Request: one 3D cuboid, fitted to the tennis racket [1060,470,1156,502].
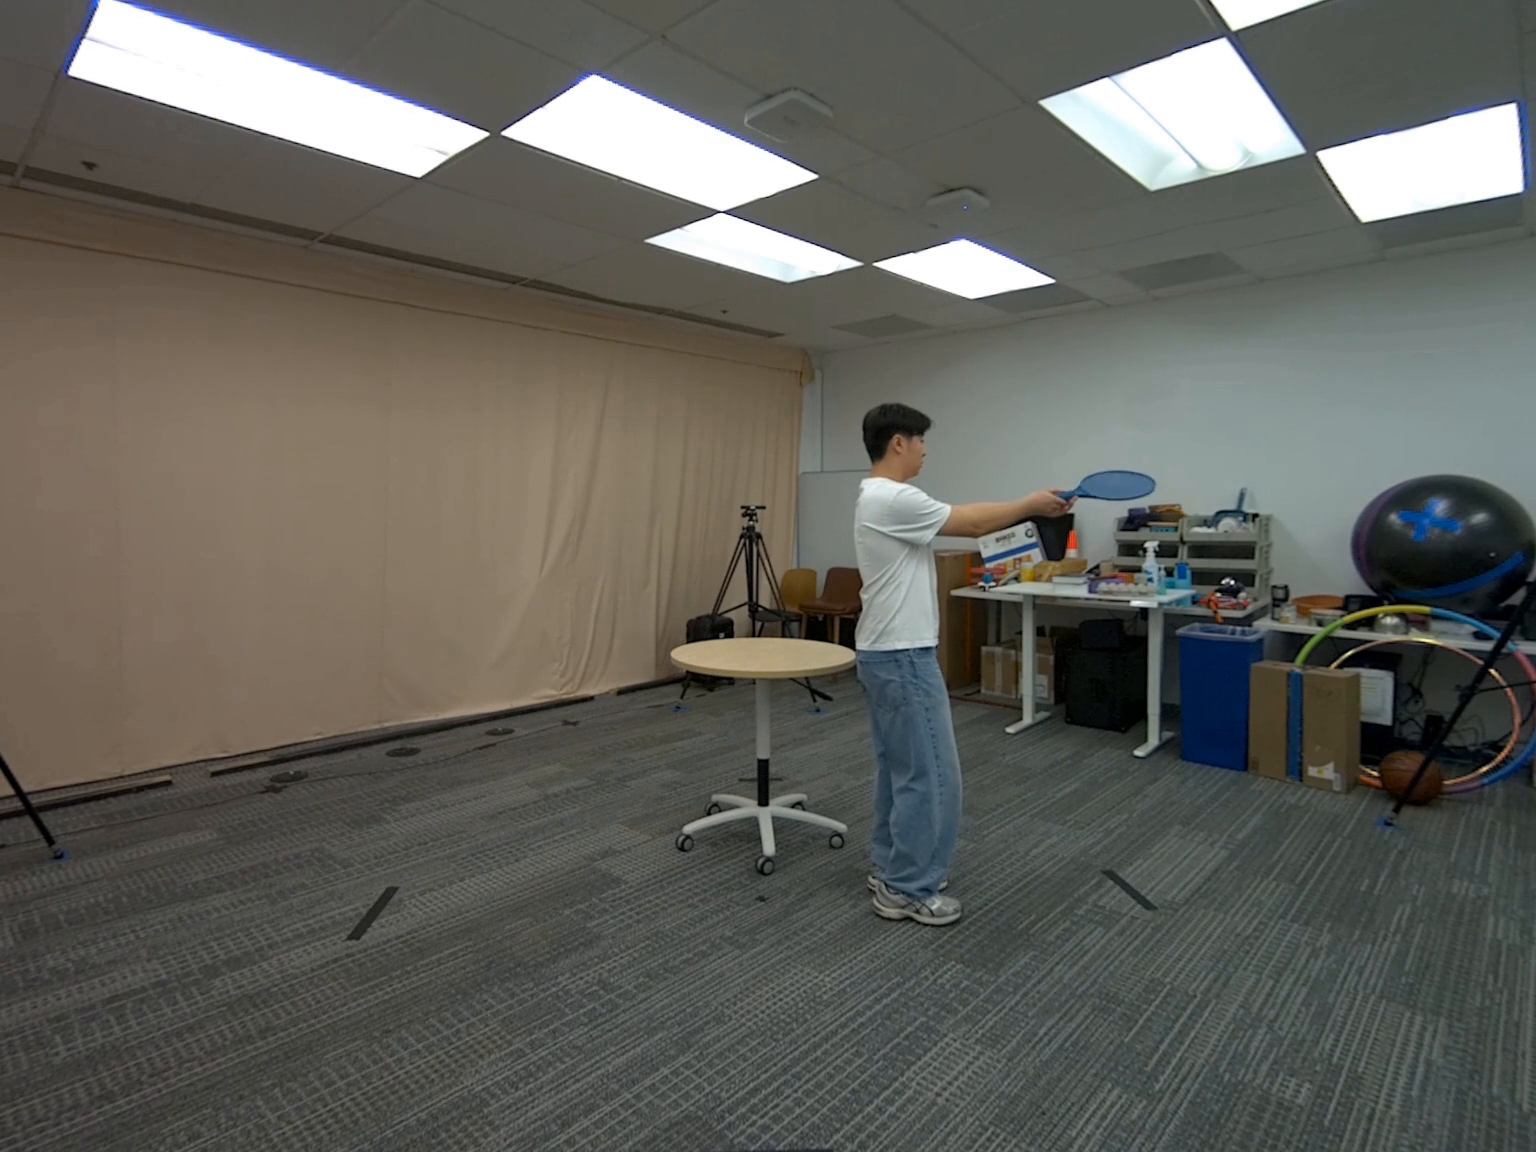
[{"bbox_3d":[1.191,-0.312,3.020,0.430,0.031,0.219,-11,34,-6],"label":"tennis racket"}]
